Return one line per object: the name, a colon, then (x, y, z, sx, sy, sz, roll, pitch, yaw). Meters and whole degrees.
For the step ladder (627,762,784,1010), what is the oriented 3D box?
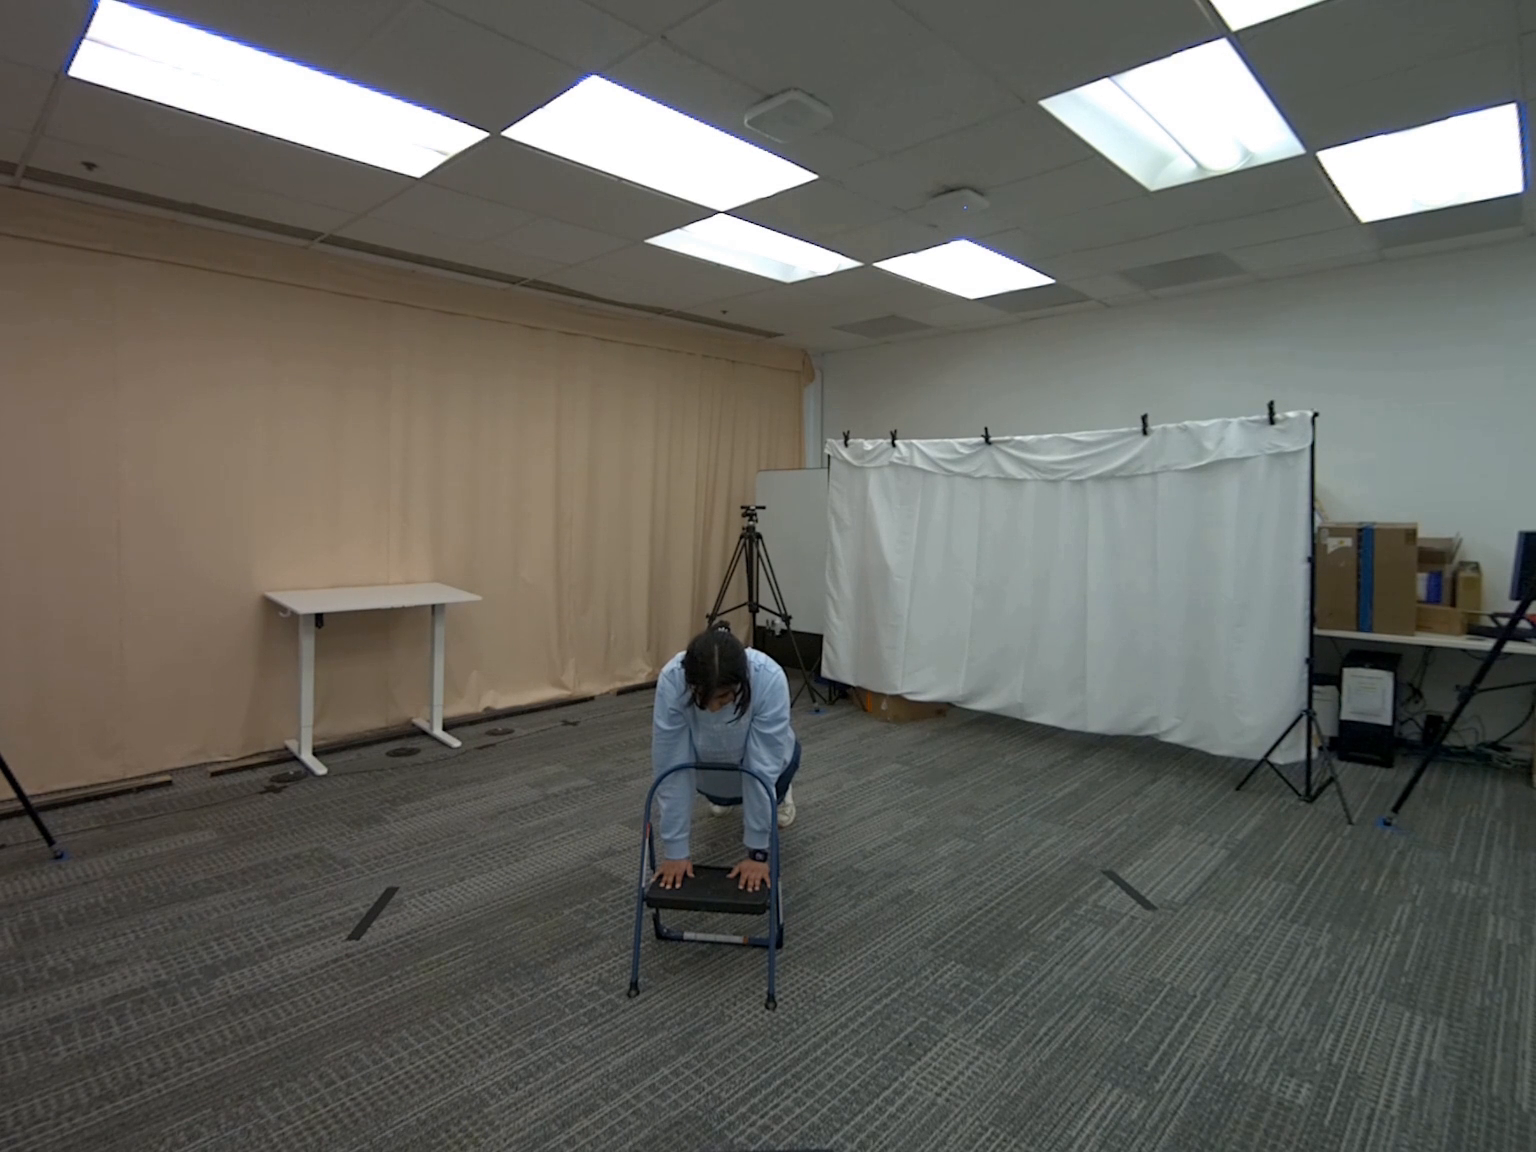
step ladder: (-0.170, 0.880, 2.517, 0.434, 0.605, 0.347, 1, 3, 7)
